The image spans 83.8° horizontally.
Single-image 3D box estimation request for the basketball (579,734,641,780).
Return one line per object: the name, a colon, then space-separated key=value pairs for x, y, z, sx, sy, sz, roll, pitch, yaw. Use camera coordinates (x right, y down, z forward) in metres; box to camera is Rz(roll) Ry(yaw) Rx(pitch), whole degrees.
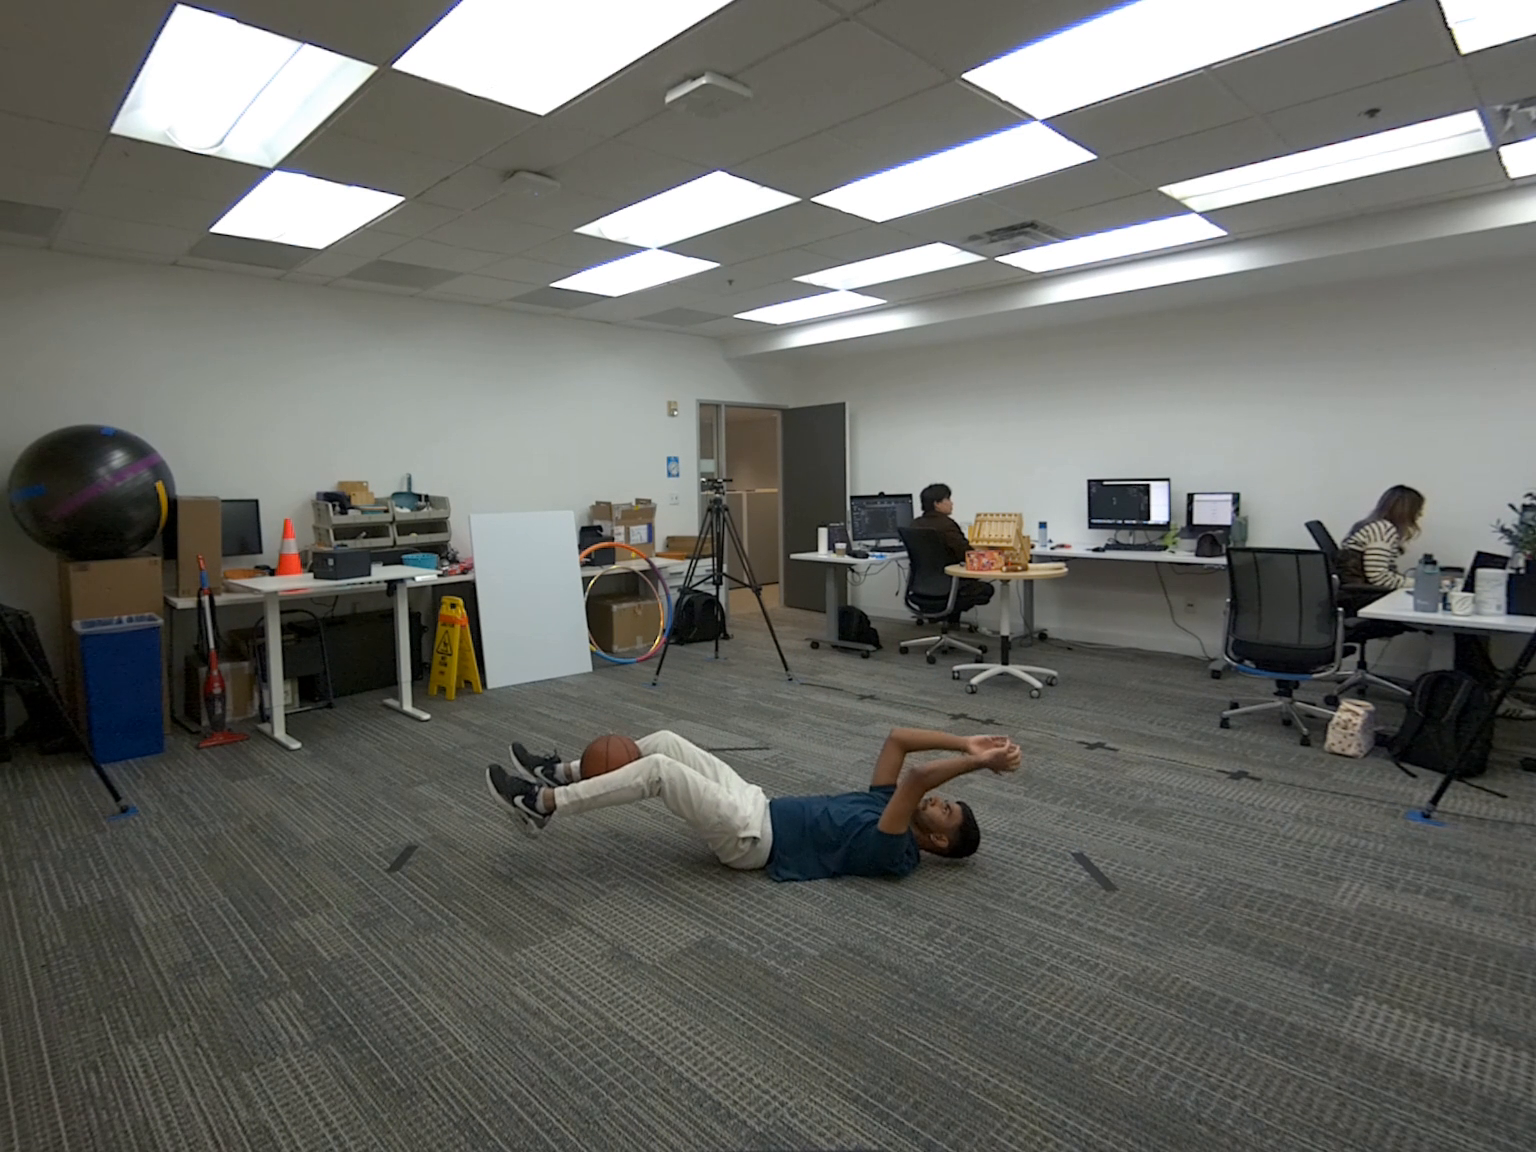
basketball: x=-0.575 y=0.703 z=3.166 sx=0.236 sy=0.235 sz=0.237 roll=-1 pitch=5 yaw=-2
